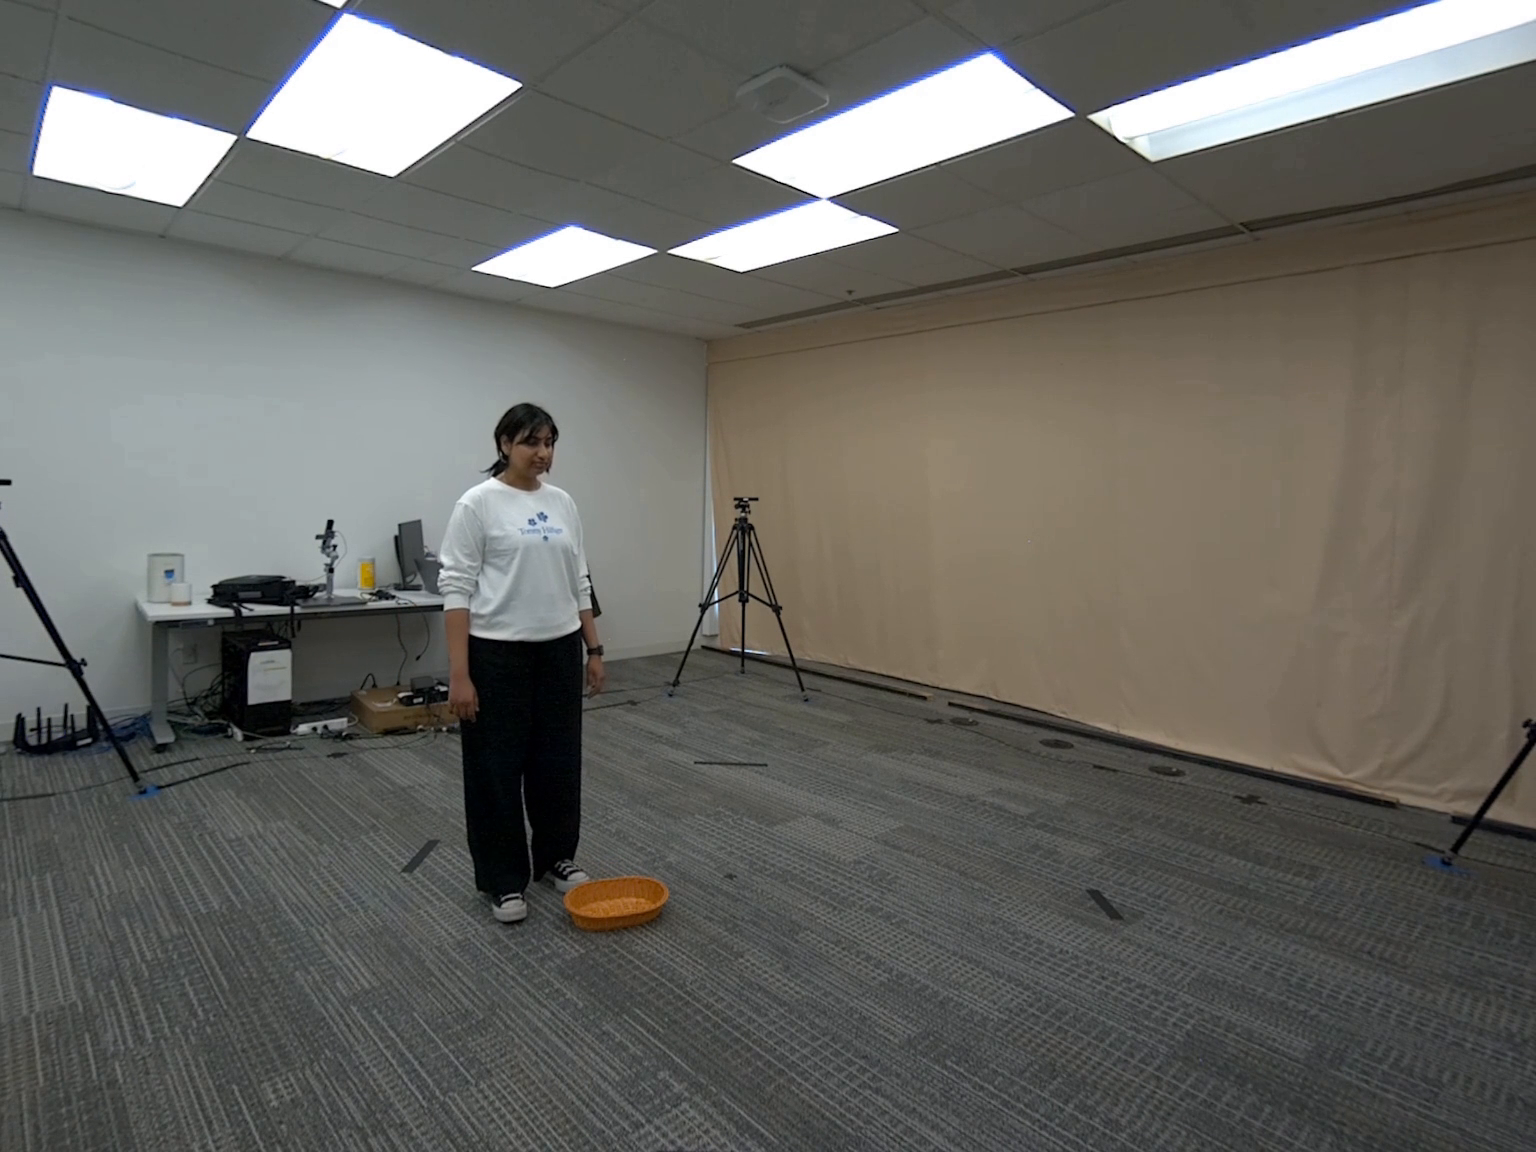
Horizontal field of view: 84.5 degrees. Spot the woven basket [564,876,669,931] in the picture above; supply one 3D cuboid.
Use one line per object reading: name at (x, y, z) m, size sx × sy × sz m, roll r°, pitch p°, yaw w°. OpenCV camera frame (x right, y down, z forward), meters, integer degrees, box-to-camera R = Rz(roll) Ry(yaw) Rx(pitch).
woven basket at (-0.508, 1.090, 2.787) m, size 0.346 × 0.073 × 0.256 m, roll 0°, pitch 6°, yaw -16°
